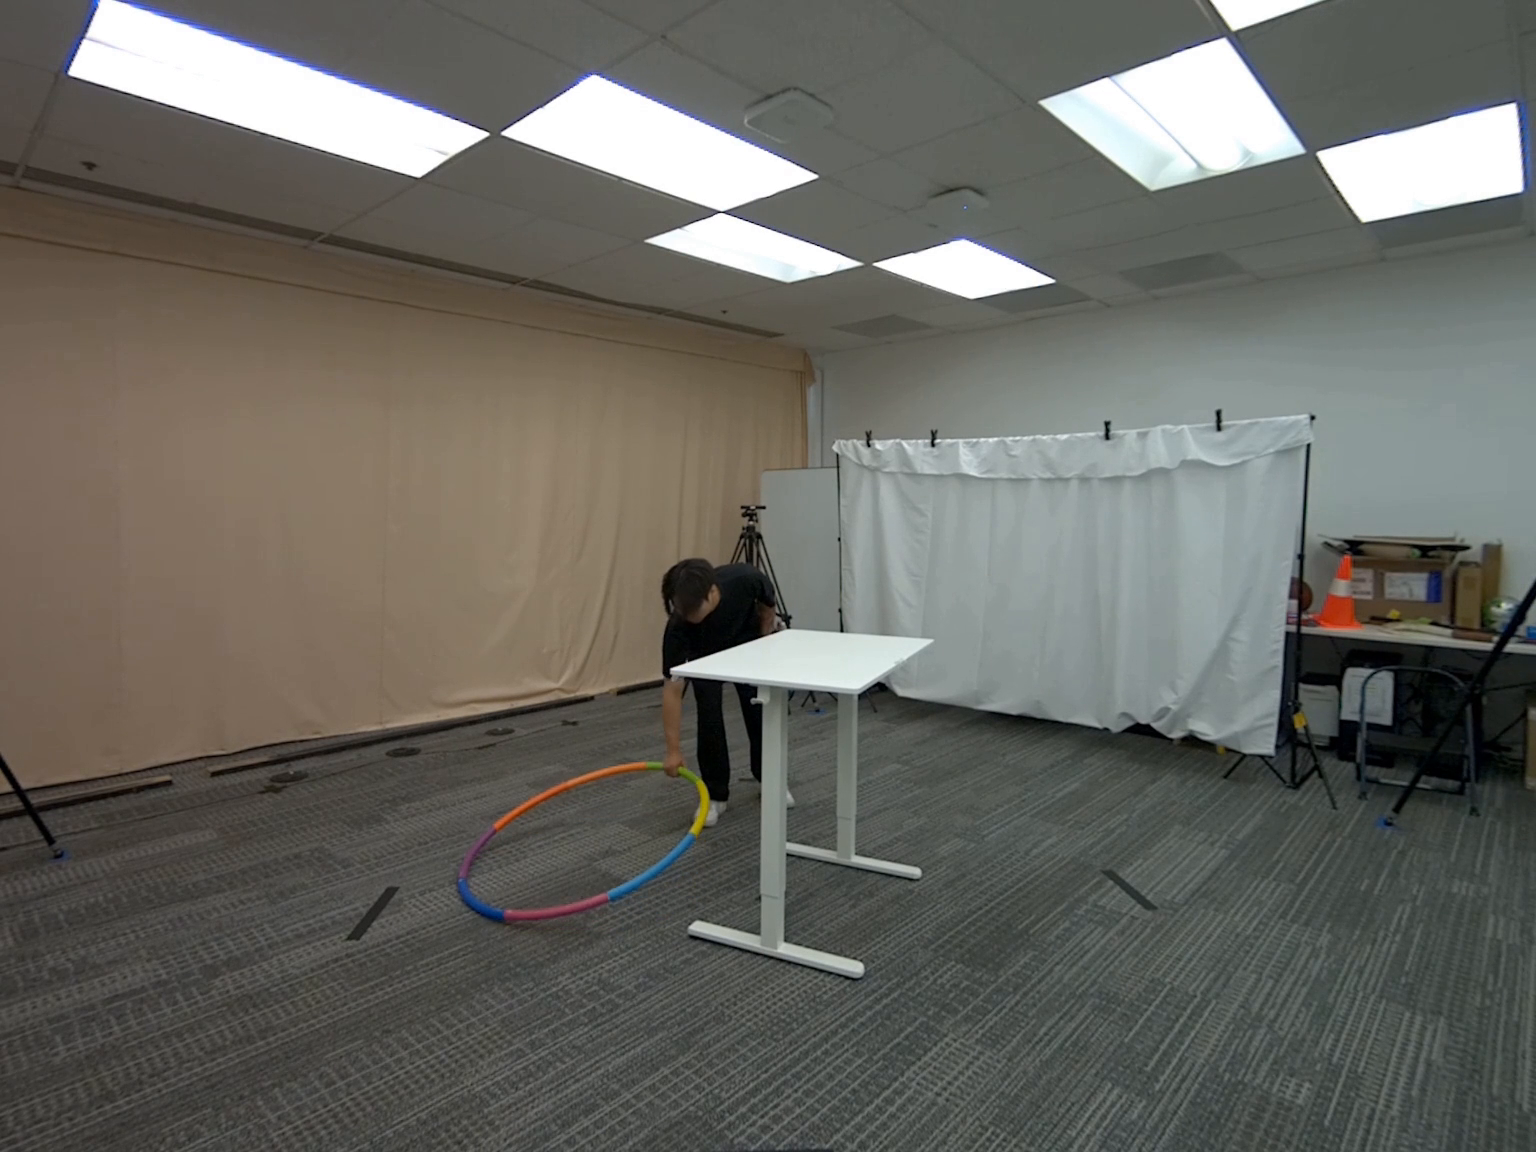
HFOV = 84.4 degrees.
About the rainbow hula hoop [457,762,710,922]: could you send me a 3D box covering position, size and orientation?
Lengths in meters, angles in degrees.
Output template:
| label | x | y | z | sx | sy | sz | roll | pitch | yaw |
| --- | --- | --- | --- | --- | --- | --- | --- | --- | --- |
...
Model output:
| label | x | y | z | sx | sy | sz | roll | pitch | yaw |
| --- | --- | --- | --- | --- | --- | --- | --- | --- | --- |
| rainbow hula hoop | -0.695 | 0.969 | 3.217 | 0.981 | 0.035 | 0.988 | -15 | 14 | 2 |
